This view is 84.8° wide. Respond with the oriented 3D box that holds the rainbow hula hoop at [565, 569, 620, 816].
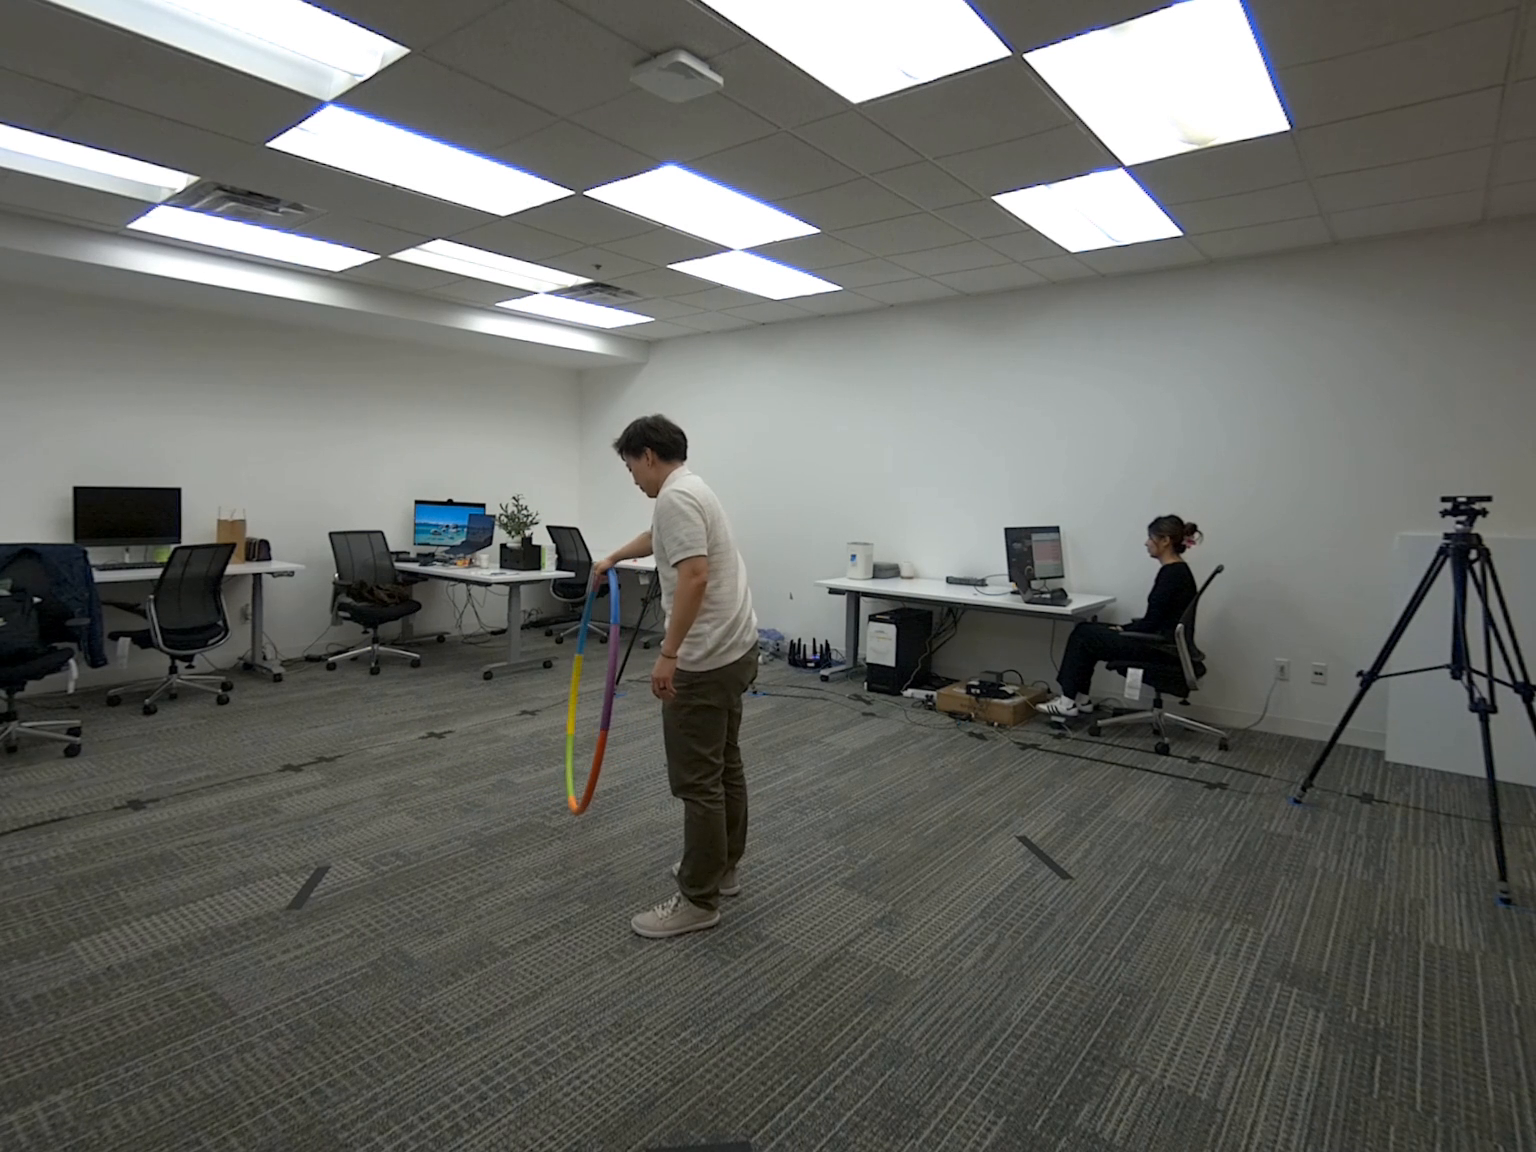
[{"bbox_3d":[-0.730,0.447,3.440,0.035,0.978,0.999,9,2,-19],"label":"rainbow hula hoop"}]
